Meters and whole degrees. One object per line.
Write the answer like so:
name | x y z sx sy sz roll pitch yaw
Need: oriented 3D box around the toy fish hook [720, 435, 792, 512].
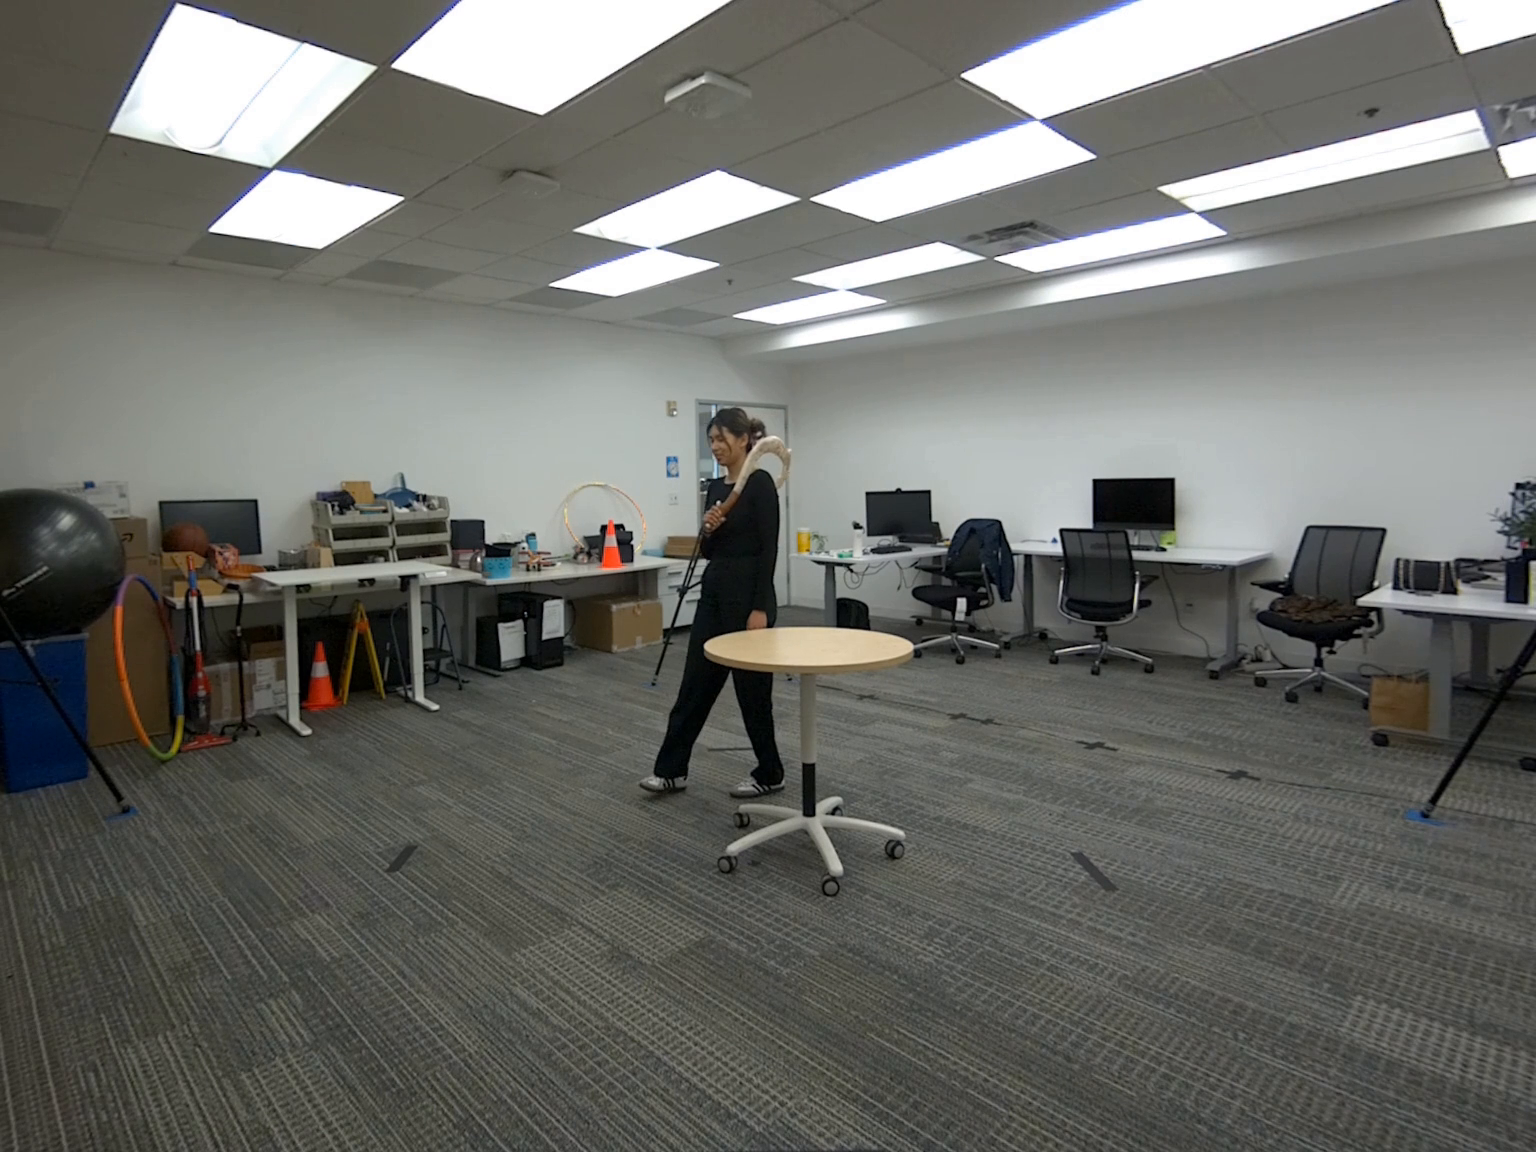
toy fish hook | -0.080 -0.373 3.682 0.218 0.507 0.050 41 -9 -26
